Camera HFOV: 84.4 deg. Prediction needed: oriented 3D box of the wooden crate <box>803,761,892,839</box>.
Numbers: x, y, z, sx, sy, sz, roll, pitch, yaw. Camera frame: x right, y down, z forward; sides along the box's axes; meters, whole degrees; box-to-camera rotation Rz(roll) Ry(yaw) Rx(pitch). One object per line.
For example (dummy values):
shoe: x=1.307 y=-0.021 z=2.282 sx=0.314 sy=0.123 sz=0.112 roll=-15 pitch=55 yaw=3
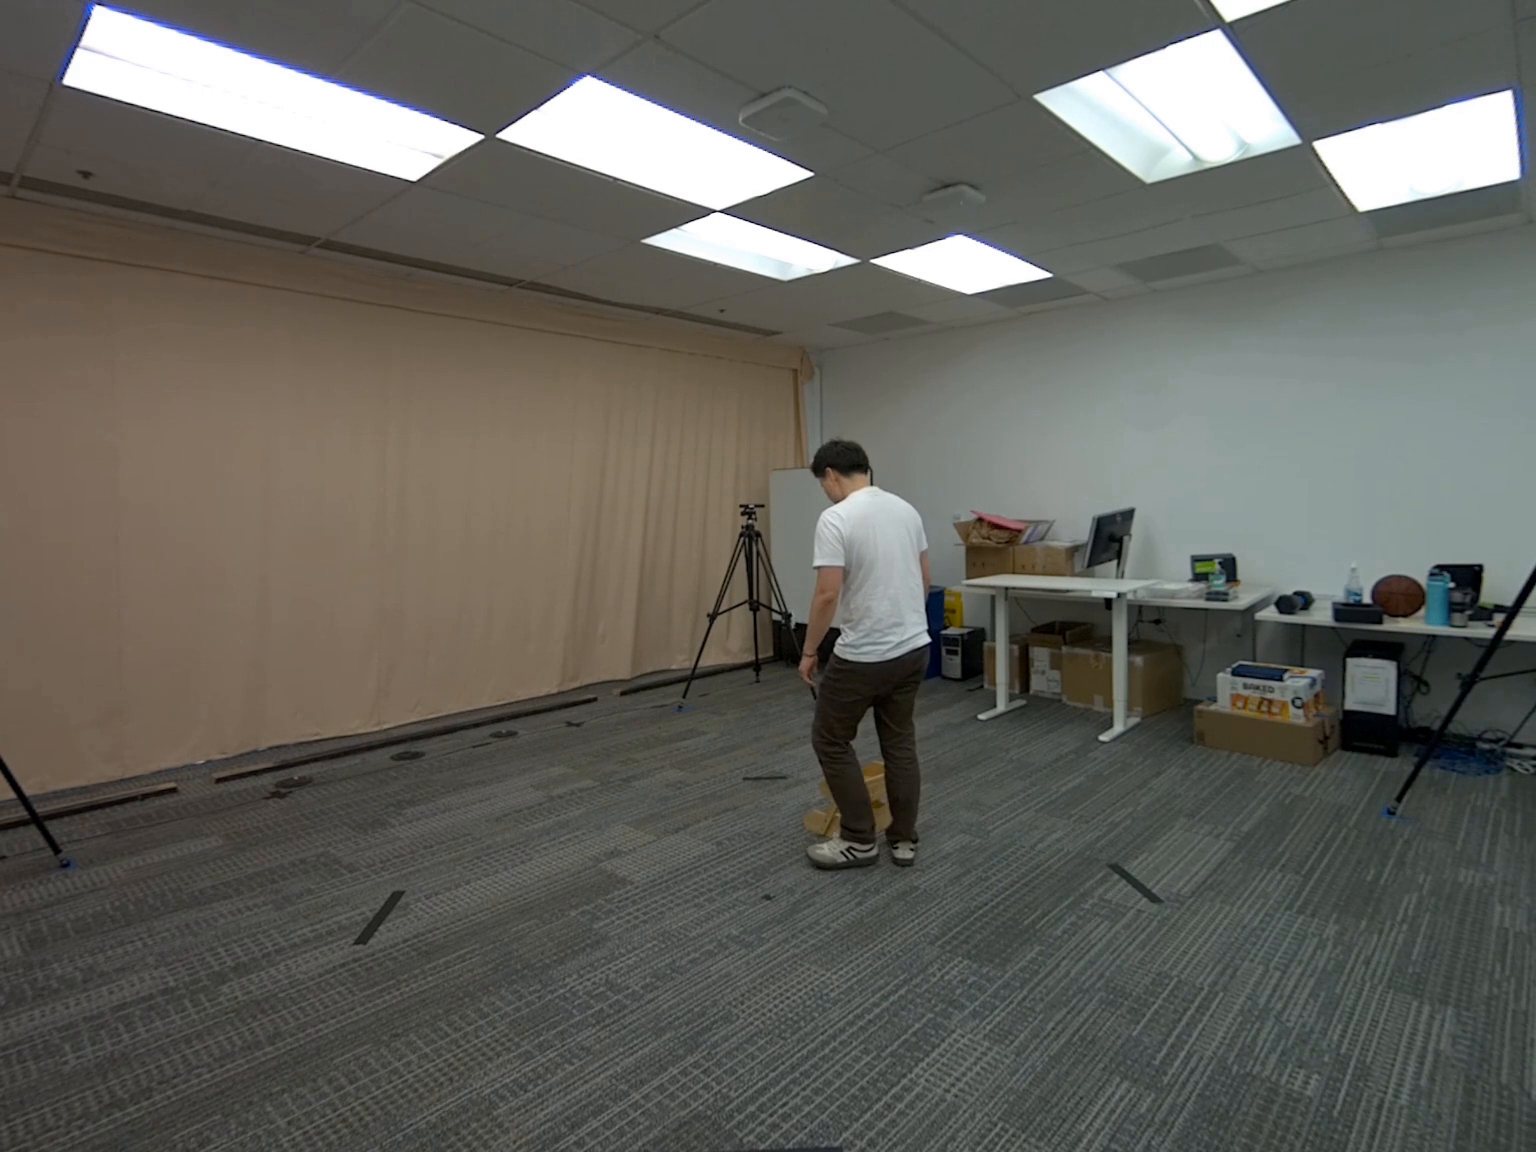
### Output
wooden crate: x=0.360 y=0.944 z=3.599 sx=0.315 sy=0.272 sz=0.312 roll=-5 pitch=6 yaw=-43
